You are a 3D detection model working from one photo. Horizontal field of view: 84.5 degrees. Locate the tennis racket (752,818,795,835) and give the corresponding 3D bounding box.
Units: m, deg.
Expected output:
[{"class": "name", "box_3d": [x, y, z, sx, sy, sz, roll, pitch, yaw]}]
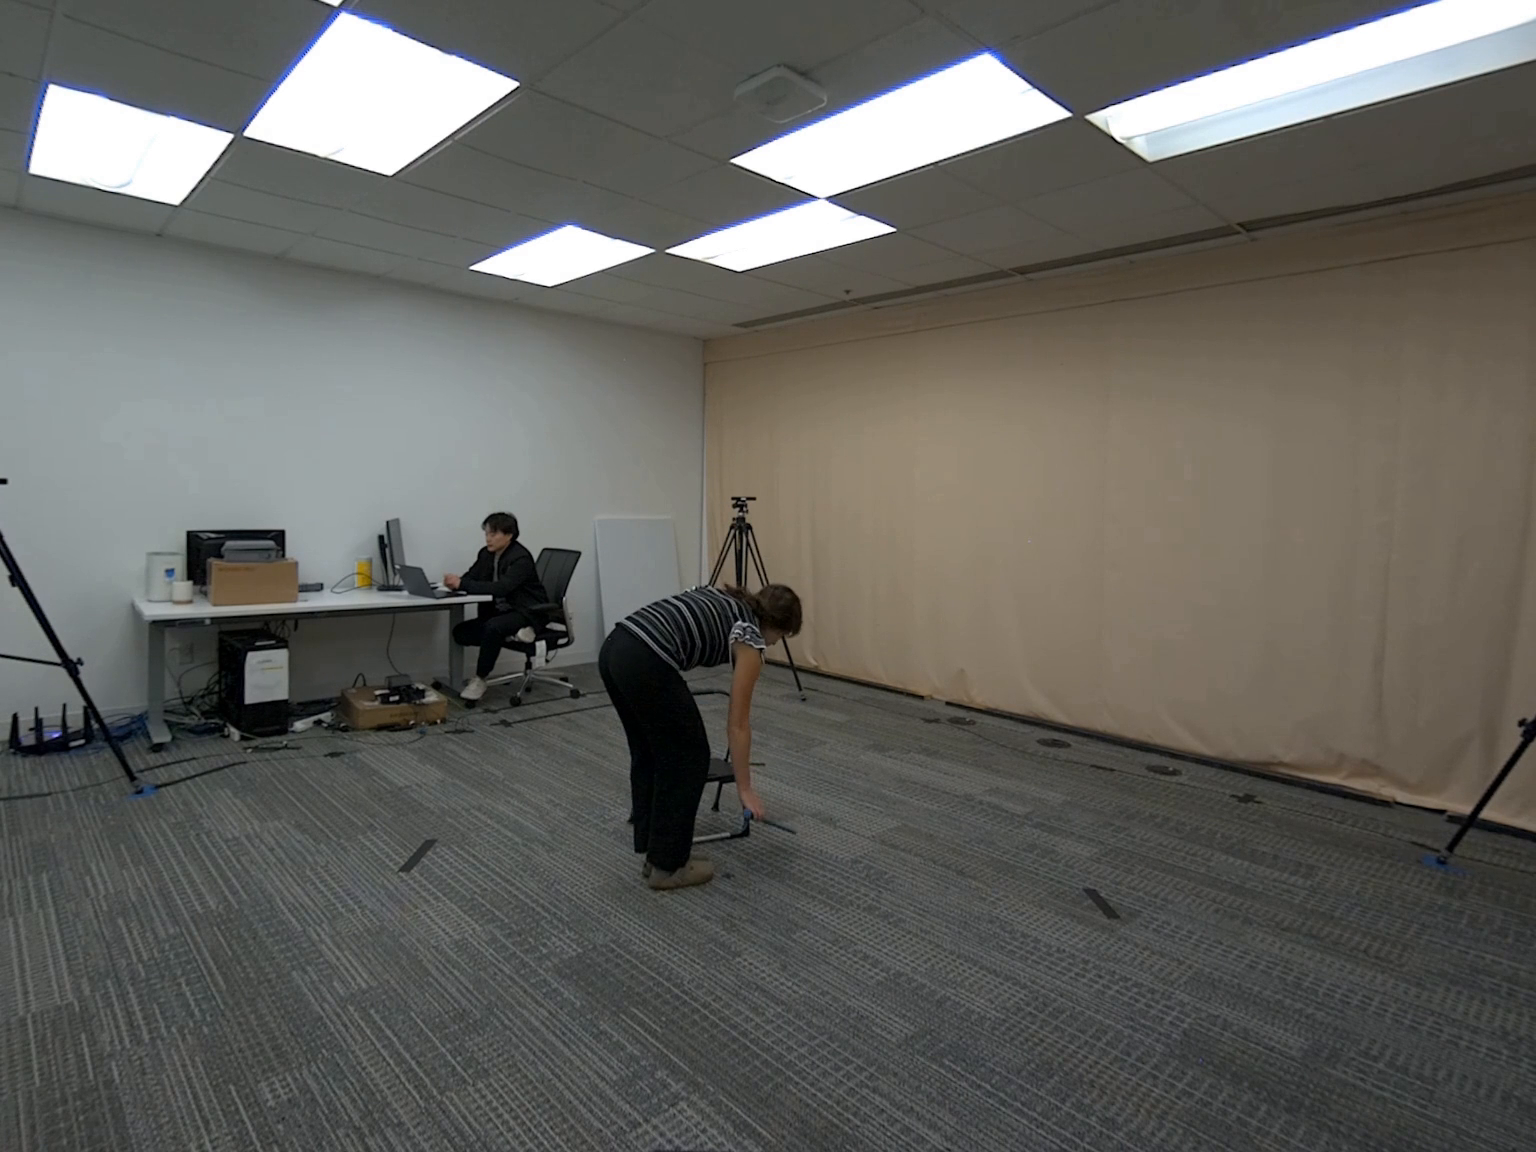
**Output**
[{"class": "tennis racket", "box_3d": [-0.022, 0.931, 3.217, 0.219, 0.032, 0.420, 14, -18, 28]}]
